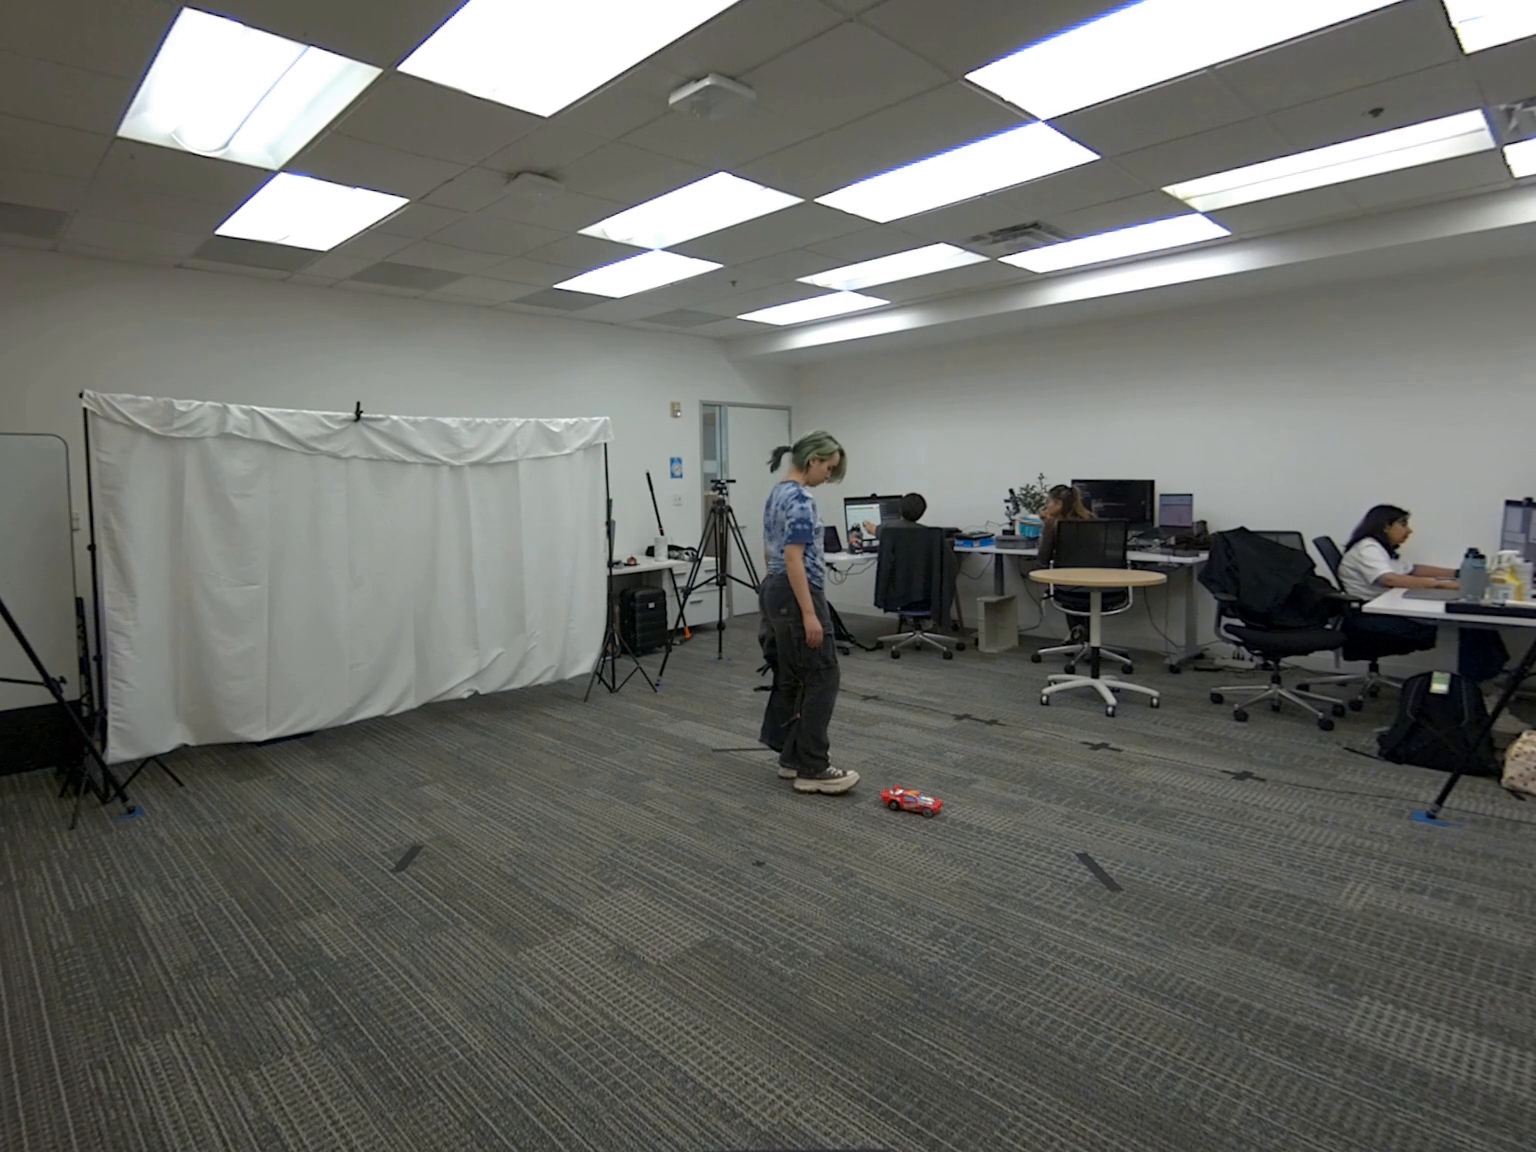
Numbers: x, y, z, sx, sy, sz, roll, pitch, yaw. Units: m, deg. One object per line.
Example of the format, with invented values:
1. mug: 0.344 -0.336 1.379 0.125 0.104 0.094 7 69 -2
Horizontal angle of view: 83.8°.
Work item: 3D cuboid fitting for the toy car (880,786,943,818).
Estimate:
1. toy car: 0.599 0.949 3.601 0.262 0.082 0.127 15 14 30
